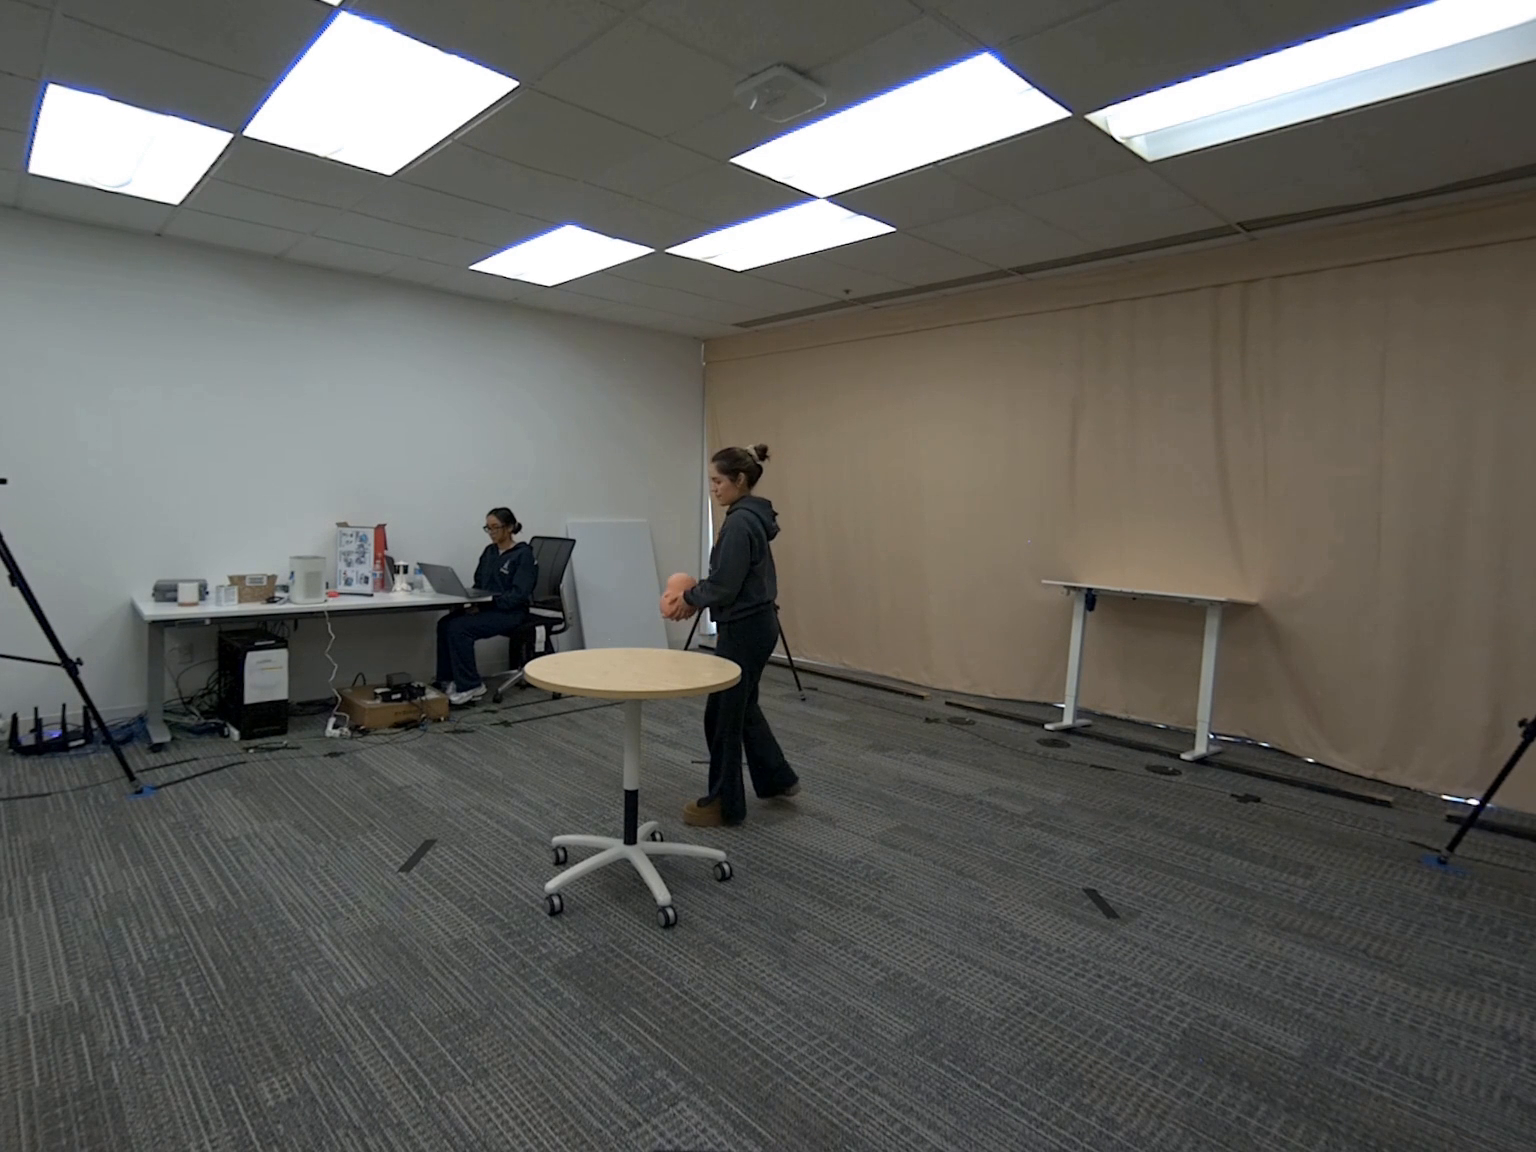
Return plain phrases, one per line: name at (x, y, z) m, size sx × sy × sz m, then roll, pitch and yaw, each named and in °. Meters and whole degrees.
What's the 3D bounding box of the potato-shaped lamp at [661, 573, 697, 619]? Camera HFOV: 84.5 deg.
potato-shaped lamp at (-0.387, 0.081, 3.673) m, size 0.172 × 0.197 × 0.165 m, roll 1°, pitch 4°, yaw 1°
